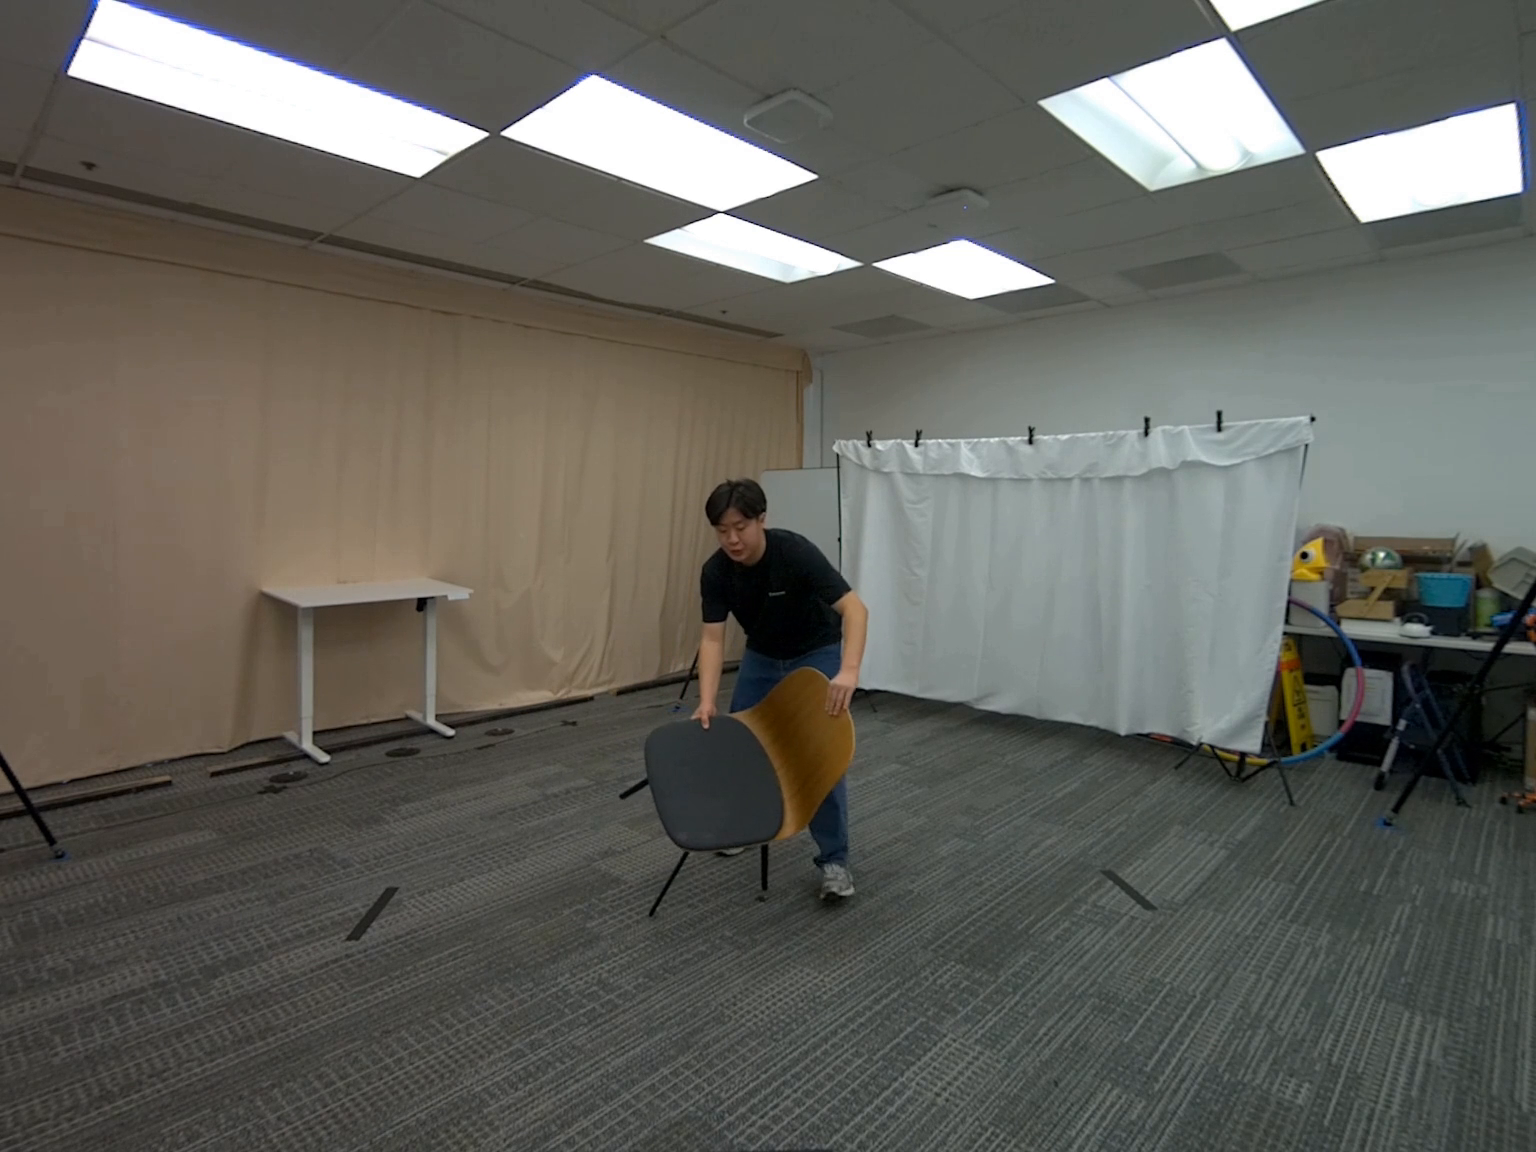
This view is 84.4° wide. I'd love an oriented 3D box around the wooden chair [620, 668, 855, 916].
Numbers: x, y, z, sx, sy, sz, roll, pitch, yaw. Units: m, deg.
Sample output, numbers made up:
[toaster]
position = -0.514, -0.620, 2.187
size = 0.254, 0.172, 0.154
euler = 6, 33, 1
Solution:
[wooden chair]
position = -0.151, 0.703, 2.800
size = 0.509, 0.492, 0.877
euler = 3, -43, -30
